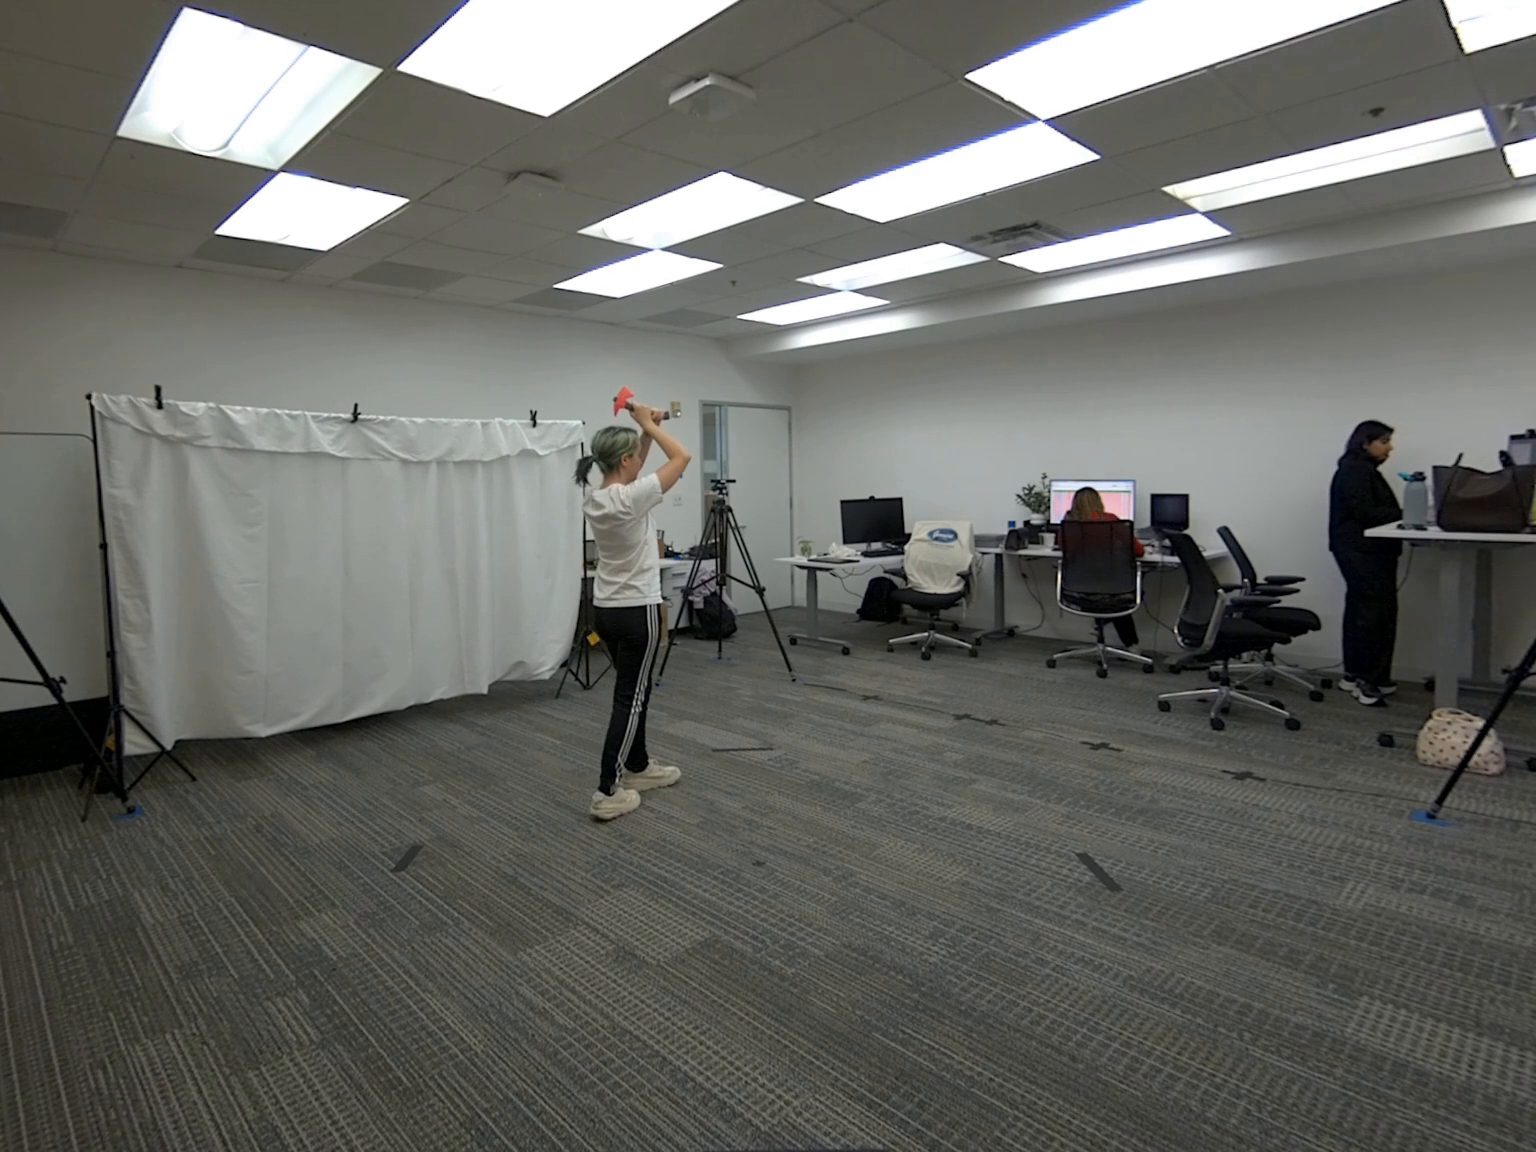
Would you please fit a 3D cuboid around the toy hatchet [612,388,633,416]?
[{"bbox_3d":[-0.546,-0.756,3.724,0.263,0.131,0.030,-3,2,-31],"label":"toy hatchet"}]
